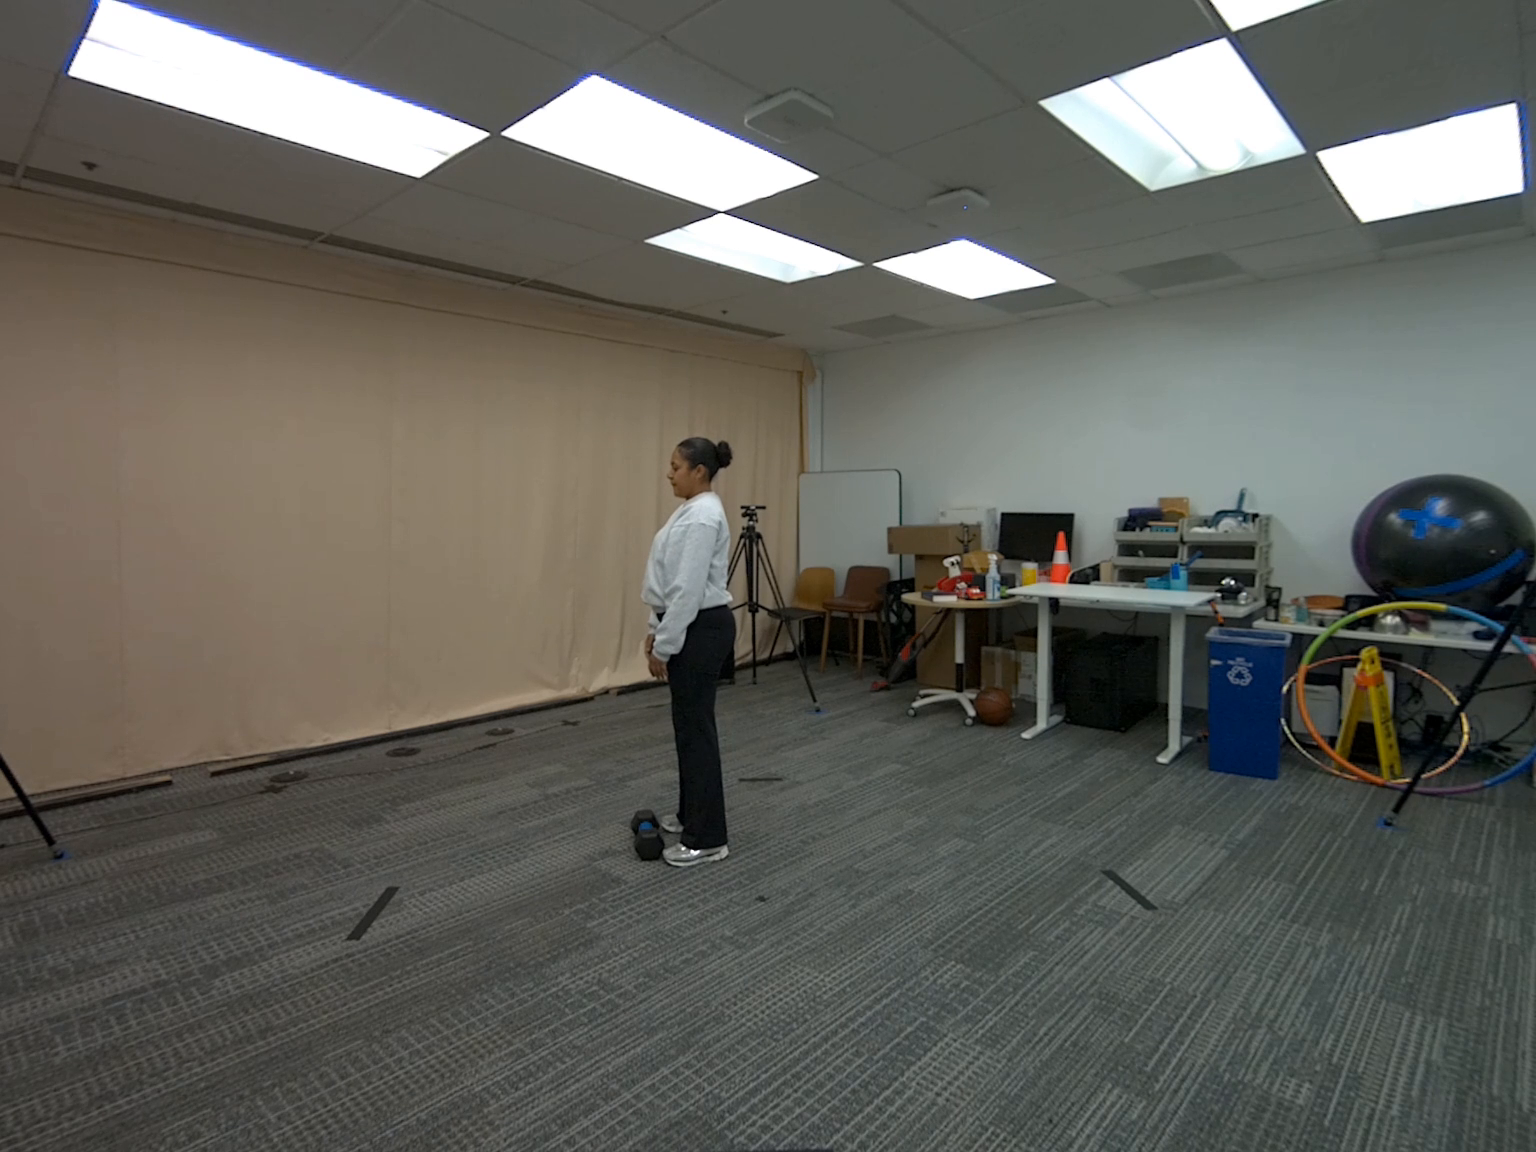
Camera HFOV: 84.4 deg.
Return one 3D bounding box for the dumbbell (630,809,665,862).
[{"bbox_3d":[-0.490,1.061,3.449,0.107,0.123,0.298,31,-3,-13],"label":"dumbbell"}]
